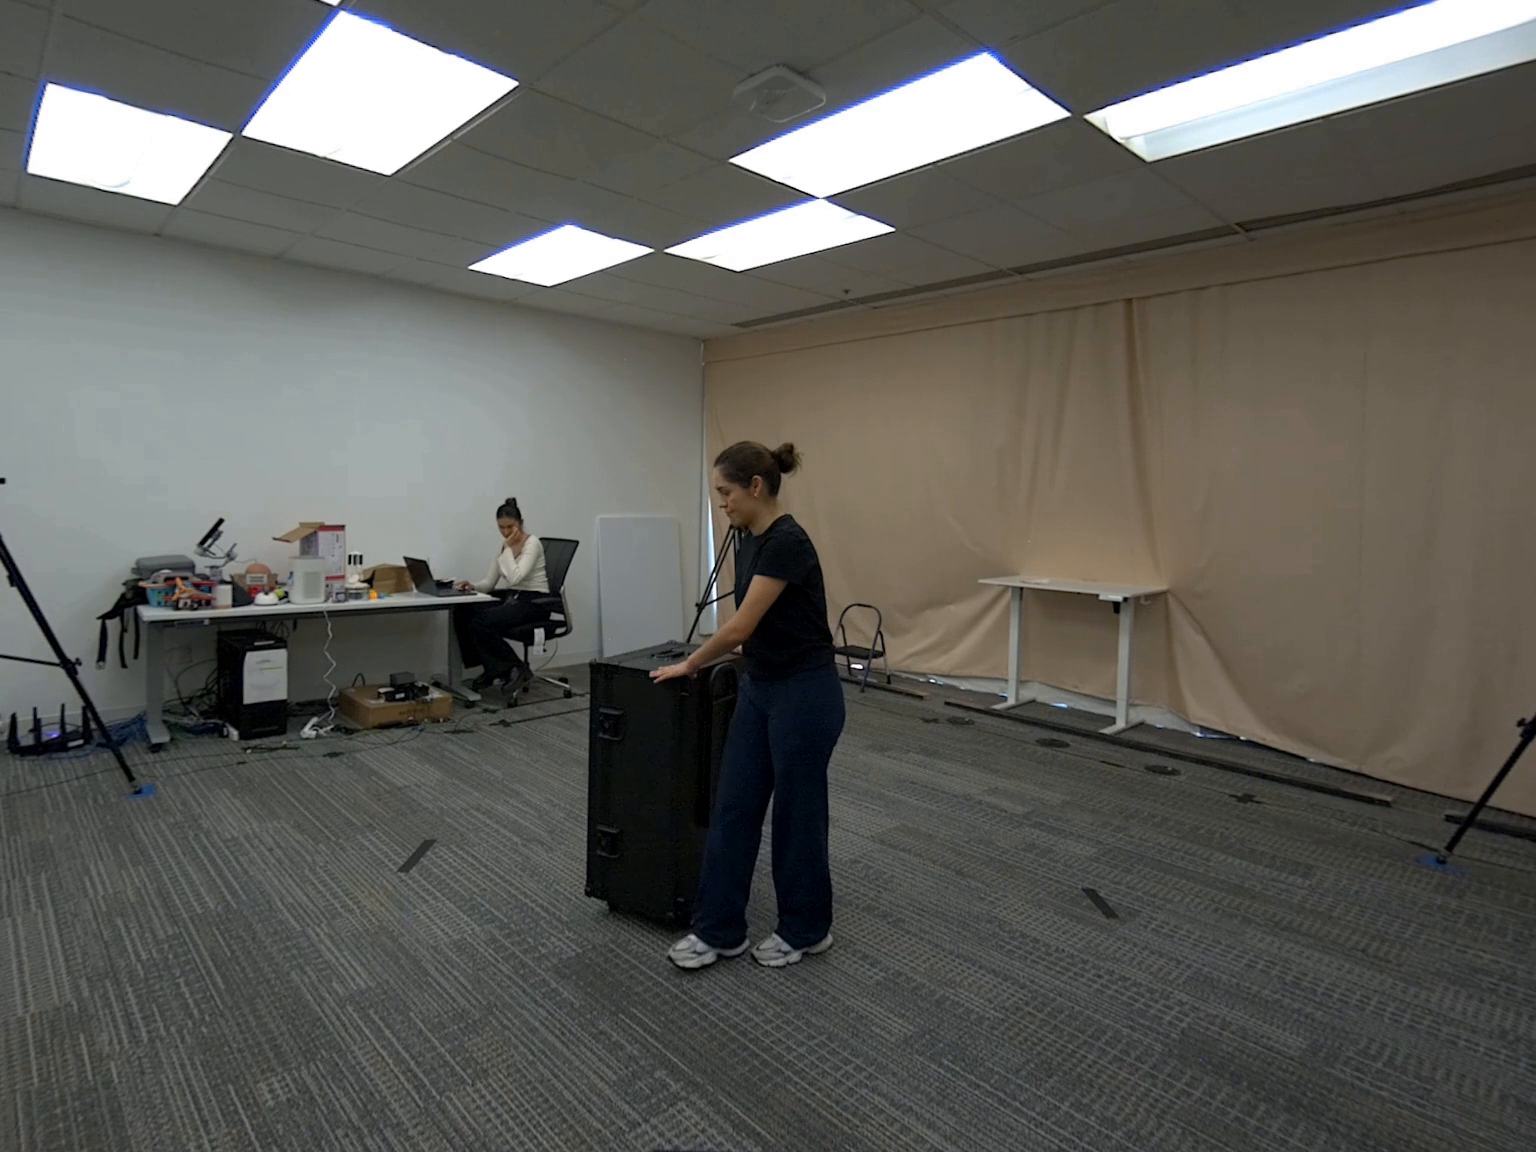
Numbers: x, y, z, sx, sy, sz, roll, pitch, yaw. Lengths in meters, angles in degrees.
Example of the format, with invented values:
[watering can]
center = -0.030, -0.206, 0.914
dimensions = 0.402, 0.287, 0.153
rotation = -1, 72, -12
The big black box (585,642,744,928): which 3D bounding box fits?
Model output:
[big black box]
center = -0.321, 0.697, 2.869
dimensions = 0.404, 0.859, 0.512
rotation = 4, 4, 27
